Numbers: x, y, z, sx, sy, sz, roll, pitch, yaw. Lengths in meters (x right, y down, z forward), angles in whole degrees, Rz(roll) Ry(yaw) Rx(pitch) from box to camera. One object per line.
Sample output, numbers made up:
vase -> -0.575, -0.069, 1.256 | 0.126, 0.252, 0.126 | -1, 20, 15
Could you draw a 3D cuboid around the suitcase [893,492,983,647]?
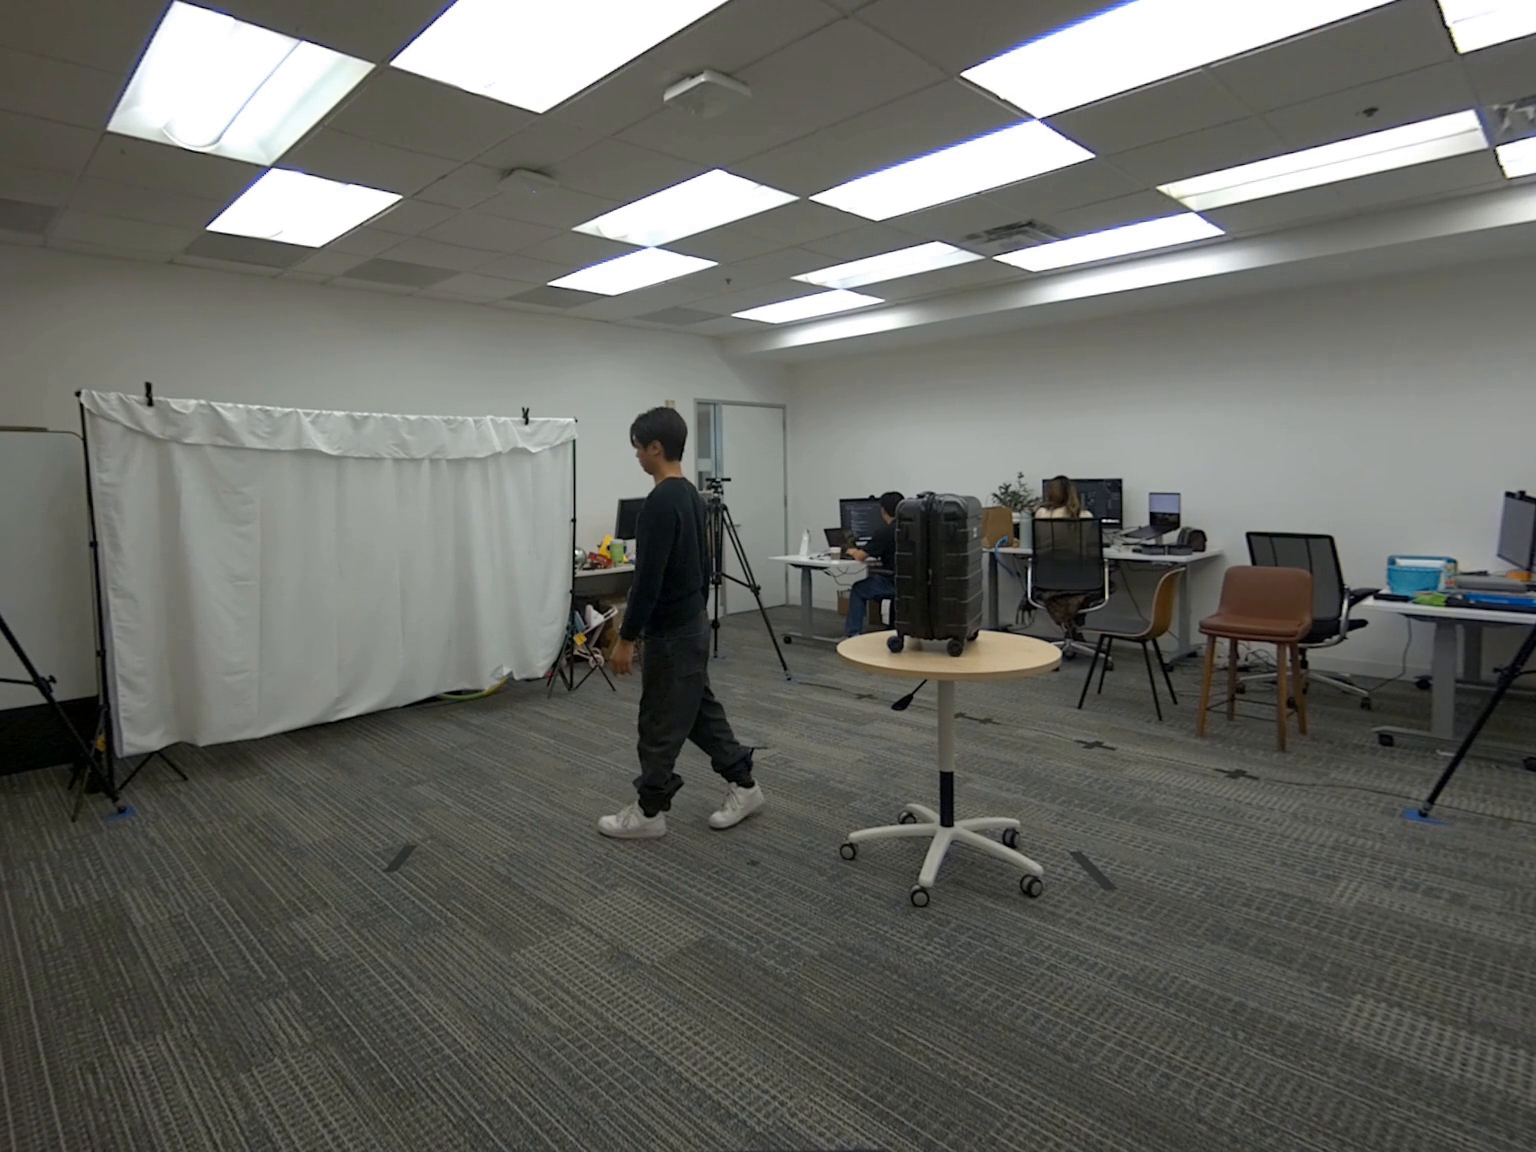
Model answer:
suitcase -> 0.612, -0.023, 3.047 | 0.254, 0.547, 0.368 | 2, 4, 25
